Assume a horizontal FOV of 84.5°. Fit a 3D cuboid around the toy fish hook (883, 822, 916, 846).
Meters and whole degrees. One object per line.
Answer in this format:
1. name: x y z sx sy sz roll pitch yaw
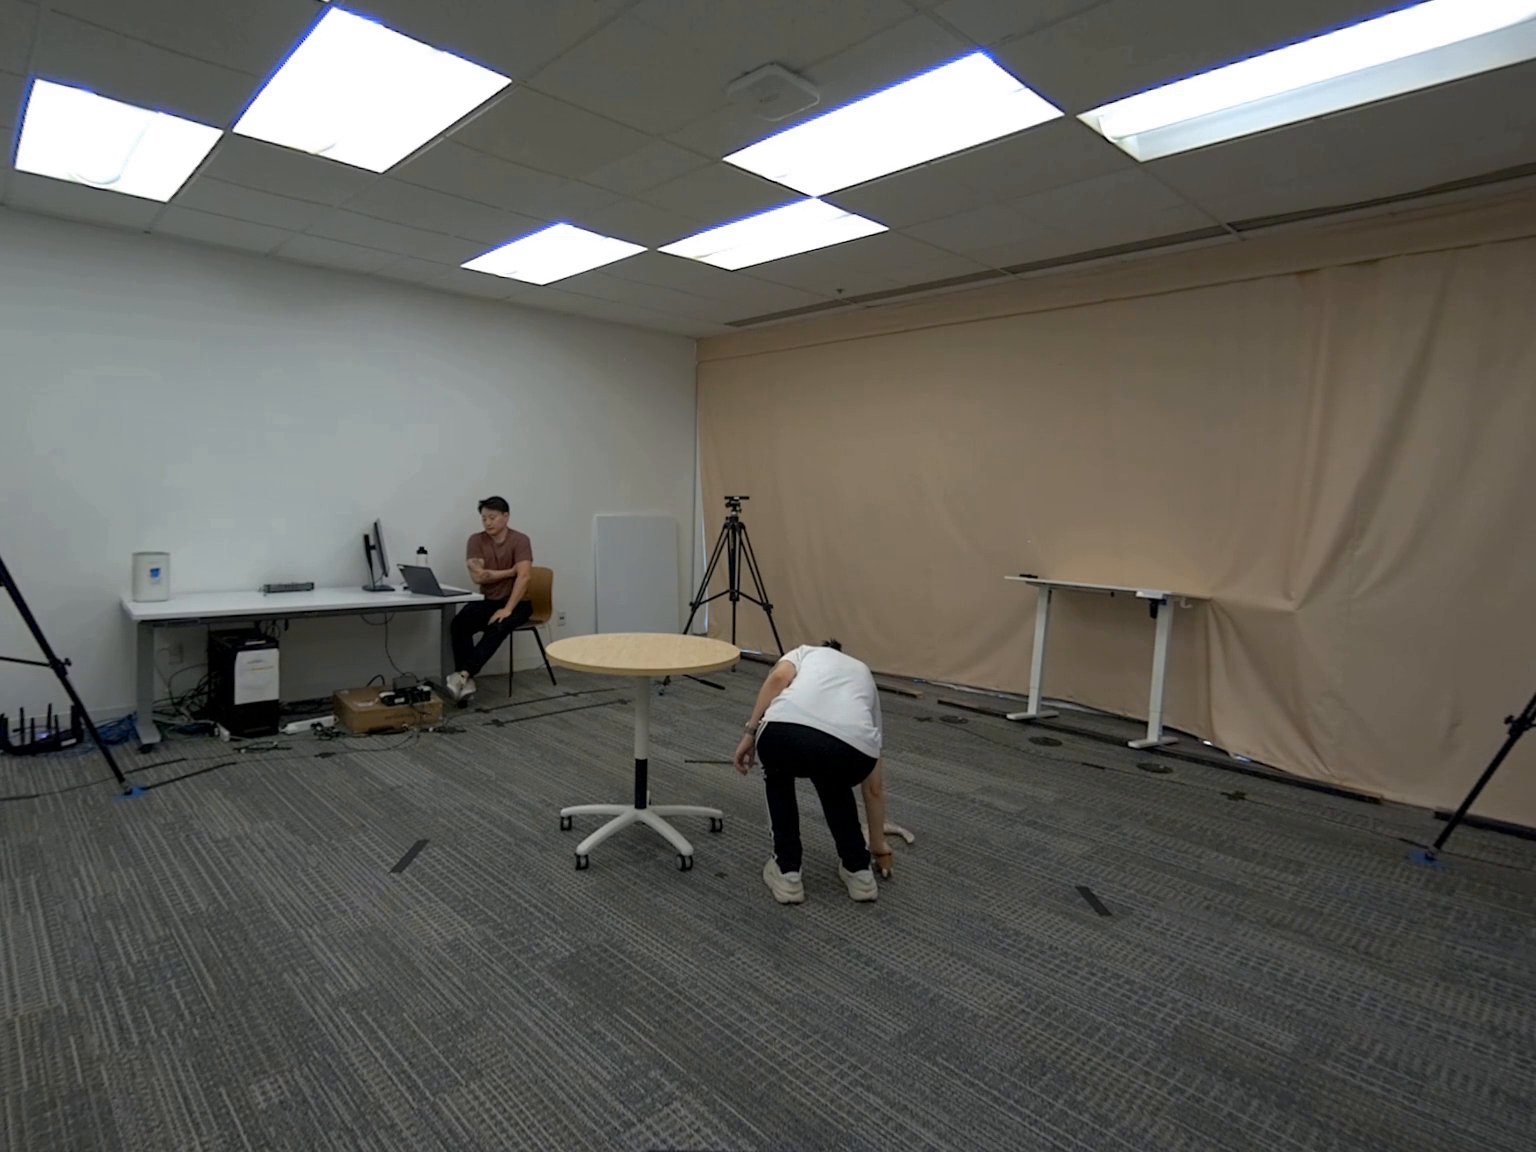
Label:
1. toy fish hook: 0.481 1.074 3.325 0.224 0.048 0.508 -6 5 -2
